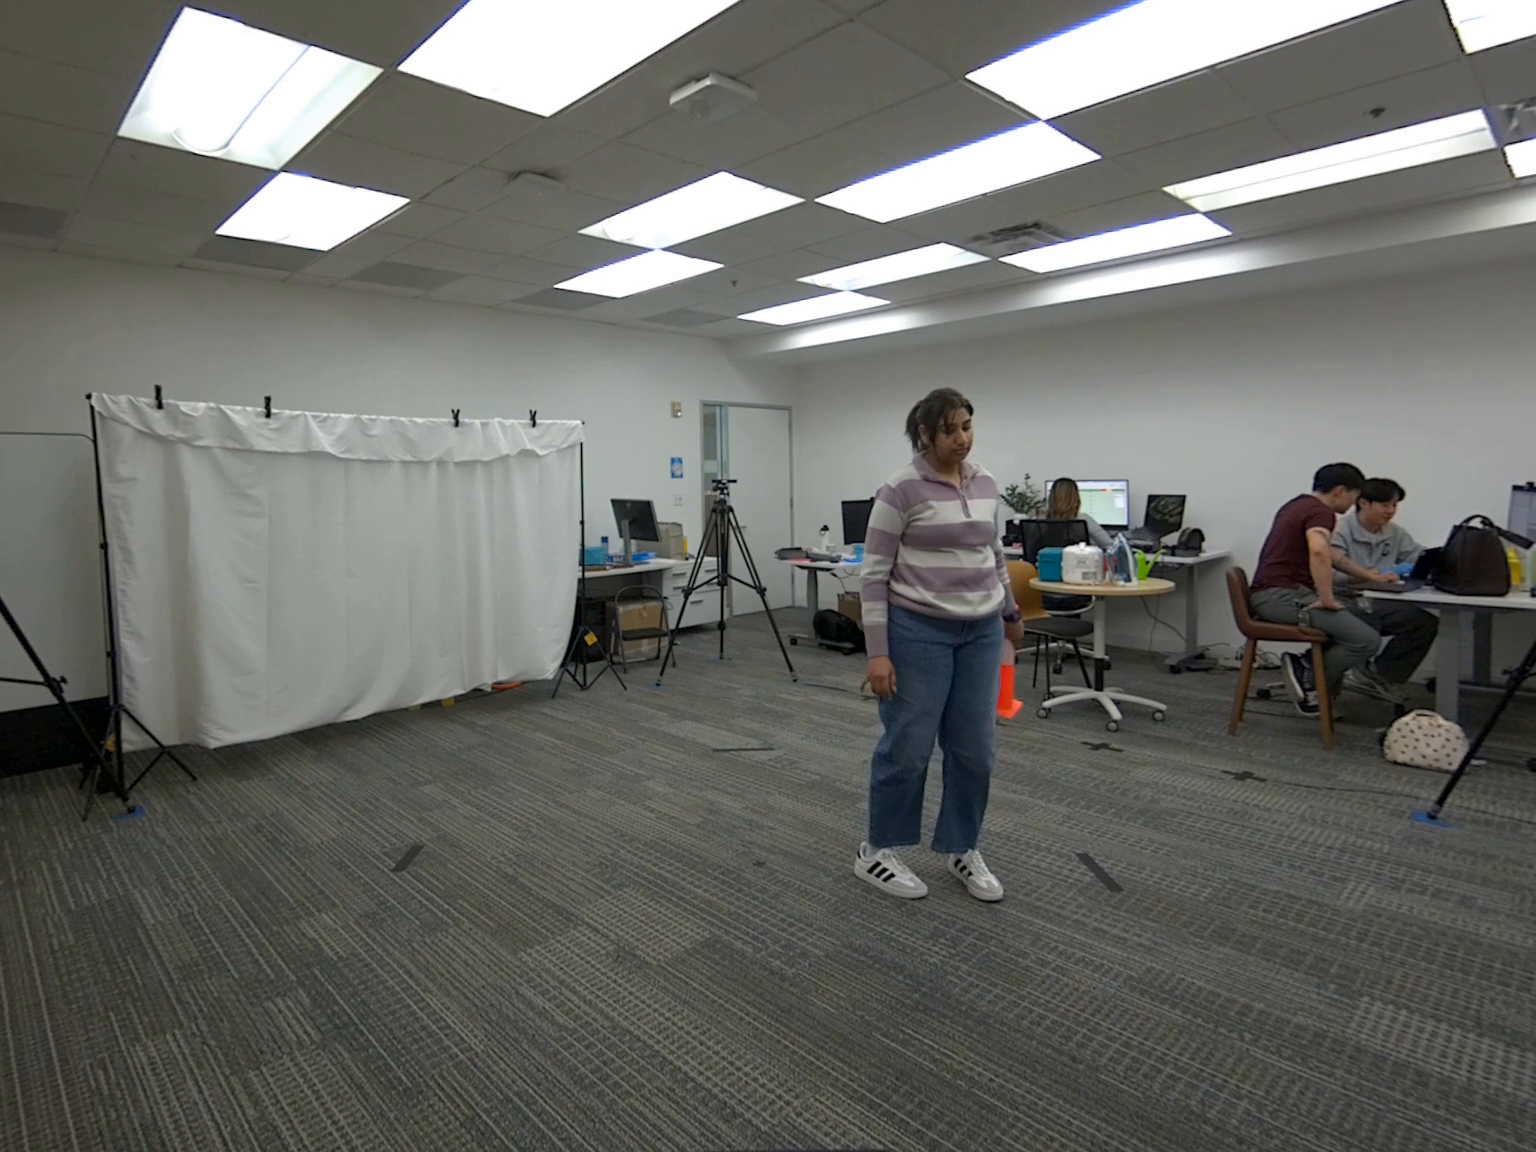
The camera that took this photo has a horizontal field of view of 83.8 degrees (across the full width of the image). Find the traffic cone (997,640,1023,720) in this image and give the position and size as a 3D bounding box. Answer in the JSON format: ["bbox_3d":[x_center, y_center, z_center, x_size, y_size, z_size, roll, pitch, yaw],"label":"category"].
[{"bbox_3d":[0.865,0.289,3.147,0.212,0.381,0.198,15,13,36],"label":"traffic cone"}]
